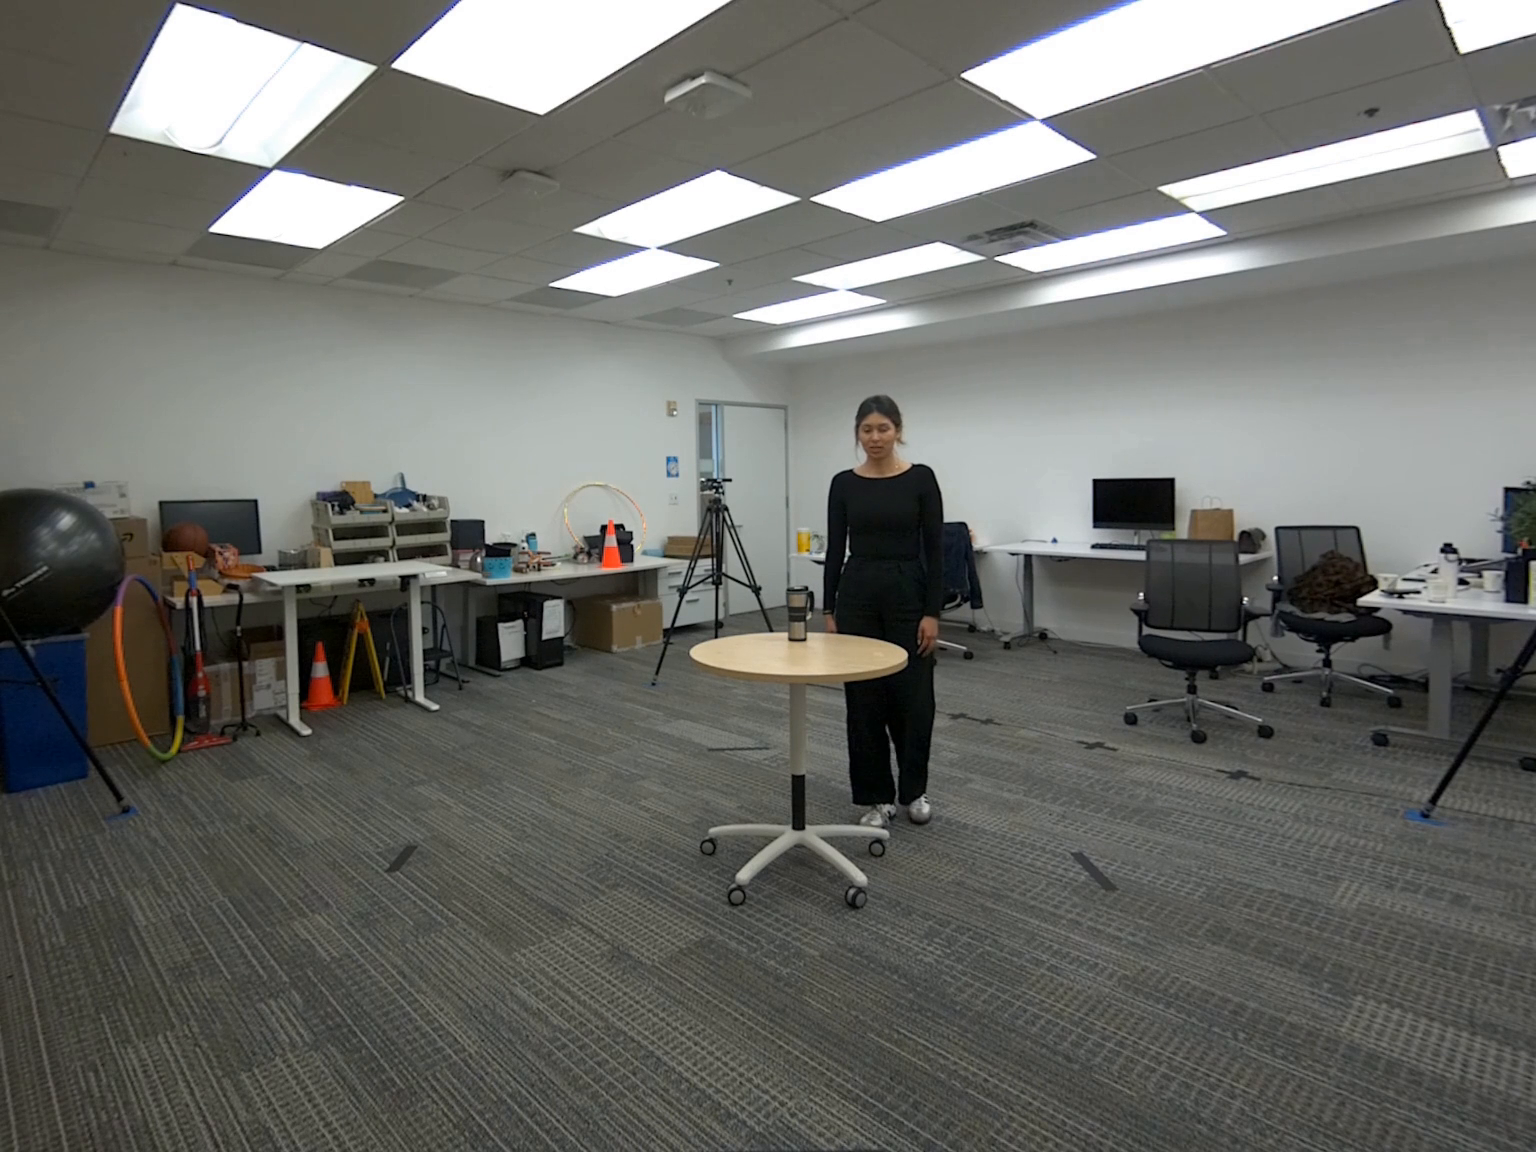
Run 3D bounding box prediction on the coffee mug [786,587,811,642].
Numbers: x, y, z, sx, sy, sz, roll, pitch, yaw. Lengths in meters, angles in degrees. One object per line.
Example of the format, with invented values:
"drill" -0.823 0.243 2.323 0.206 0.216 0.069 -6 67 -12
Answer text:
"coffee mug" 0.135 0.142 3.246 0.119 0.203 0.090 -7 2 -25
